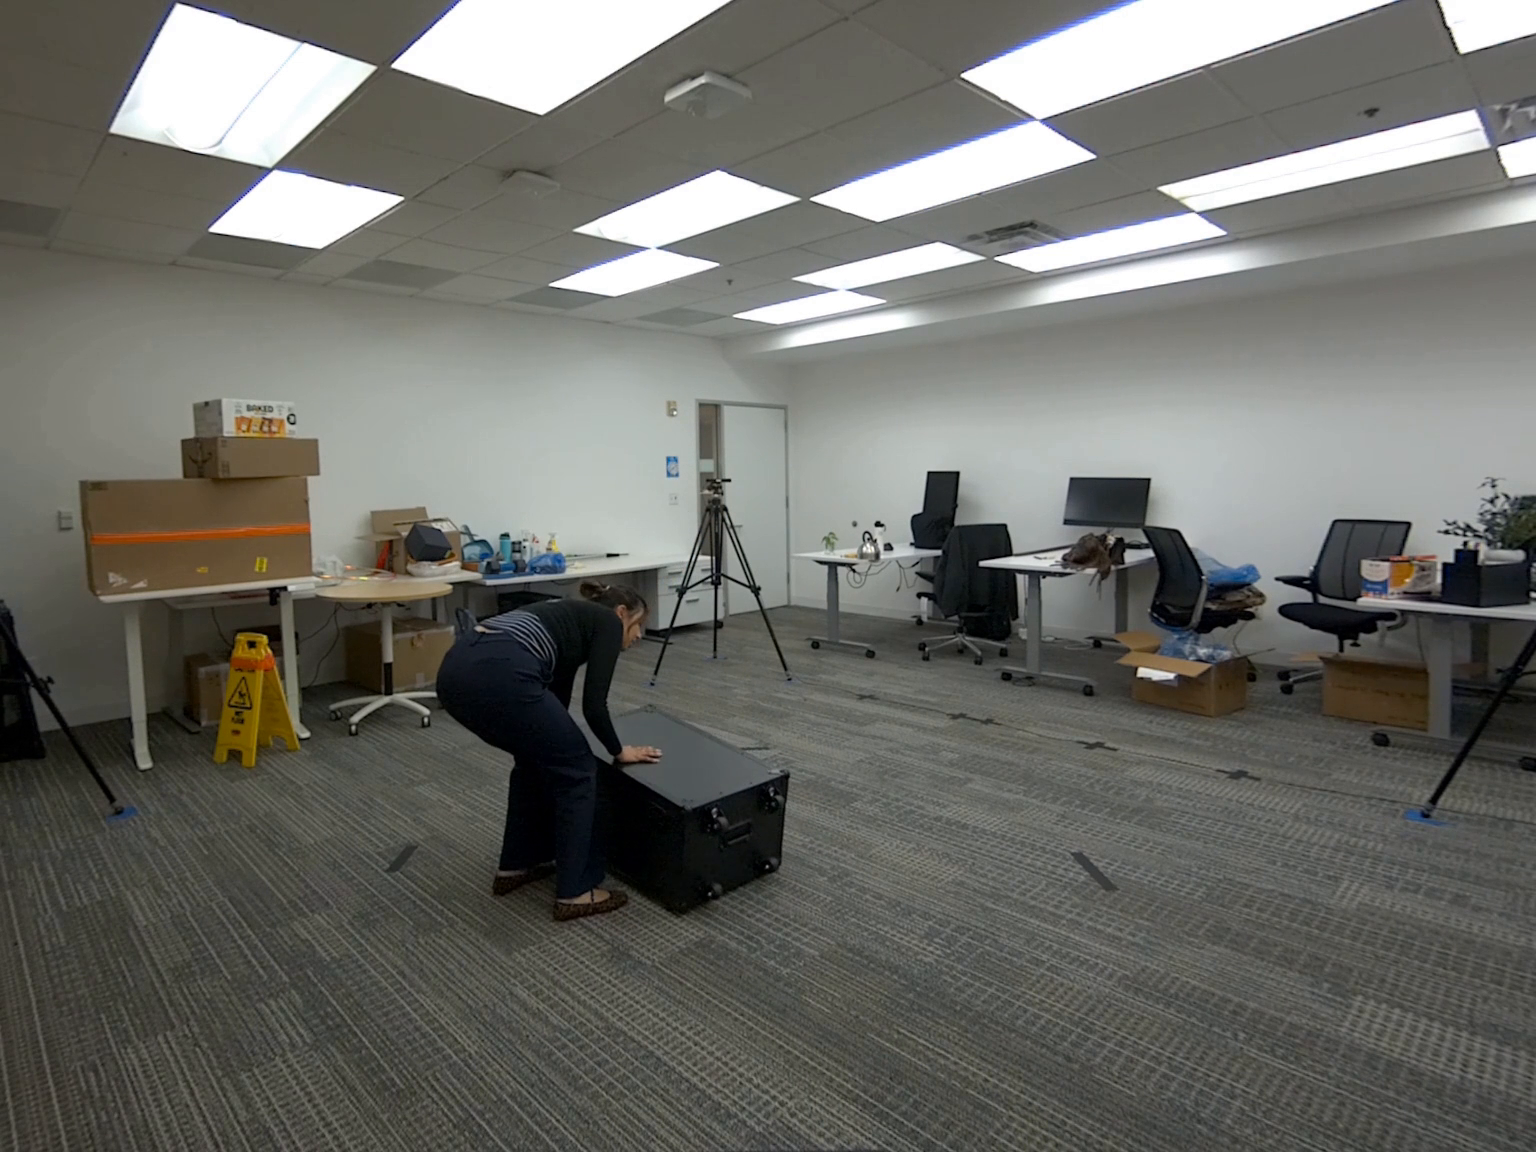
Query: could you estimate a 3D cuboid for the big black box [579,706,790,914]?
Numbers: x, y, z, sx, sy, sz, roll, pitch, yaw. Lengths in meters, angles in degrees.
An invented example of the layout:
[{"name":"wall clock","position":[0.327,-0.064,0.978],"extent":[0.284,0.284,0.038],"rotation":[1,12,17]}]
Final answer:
[{"name":"big black box","position":[-0.400,0.811,3.169],"extent":[0.508,0.393,0.892],"rotation":[-7,15,-43]}]
